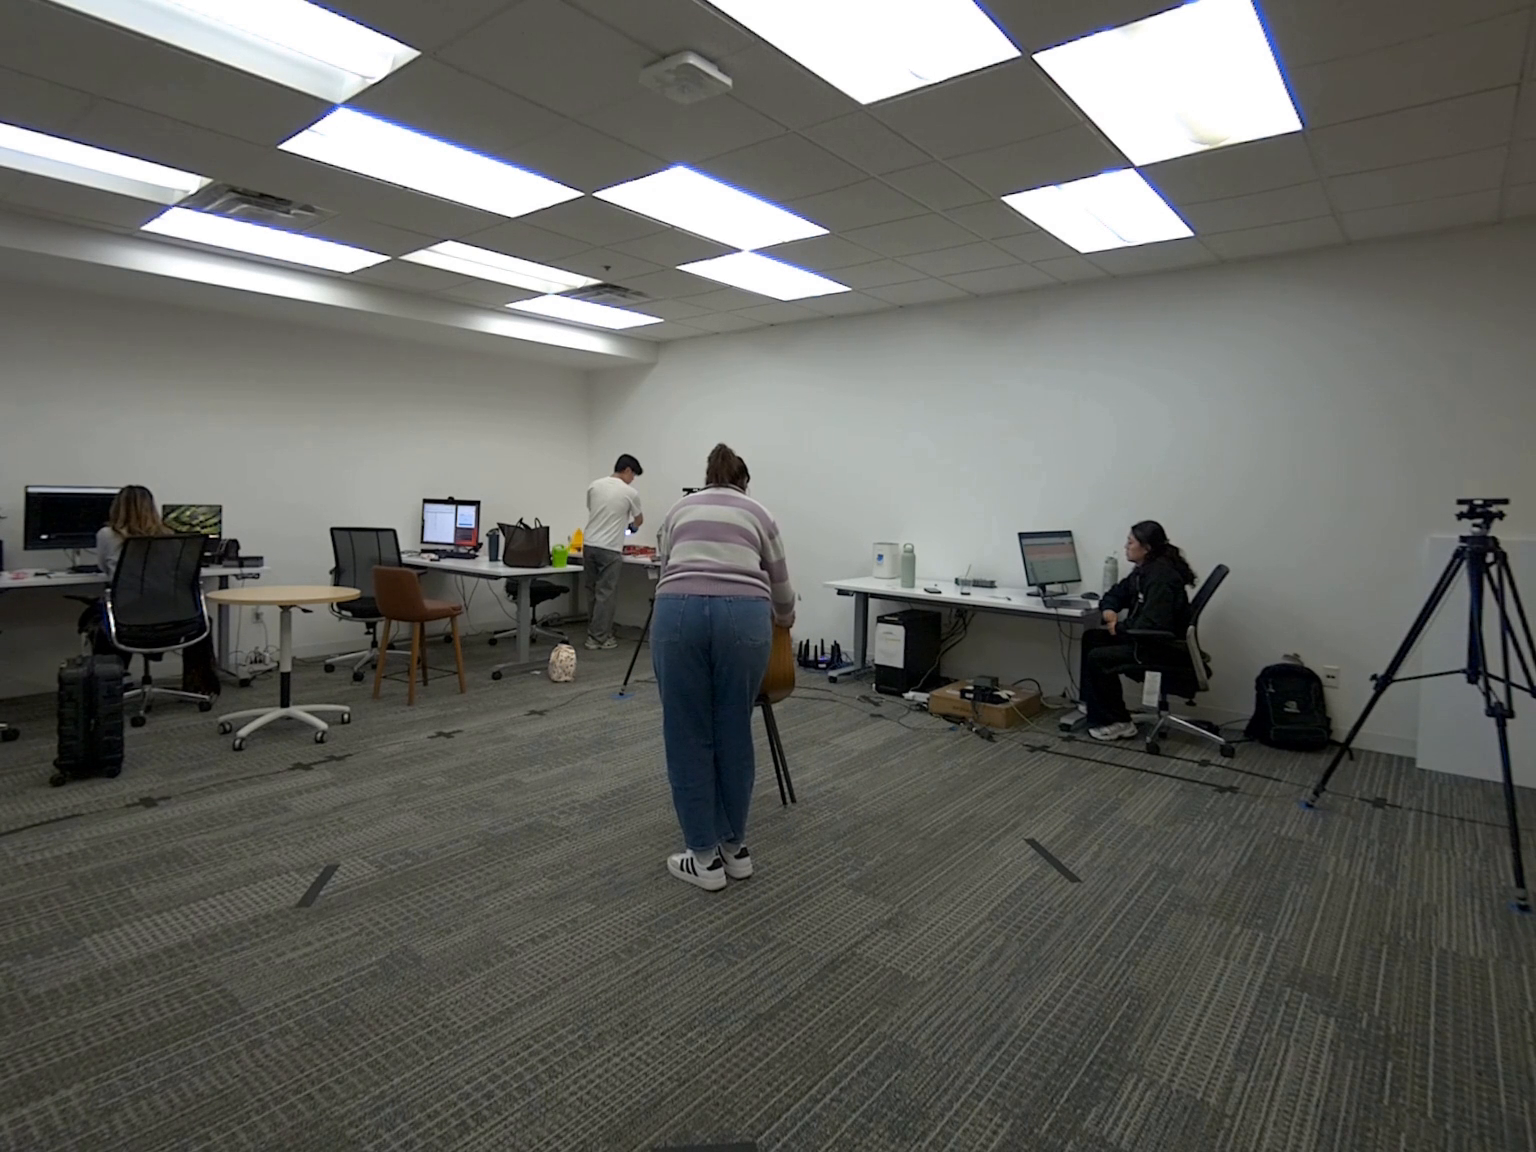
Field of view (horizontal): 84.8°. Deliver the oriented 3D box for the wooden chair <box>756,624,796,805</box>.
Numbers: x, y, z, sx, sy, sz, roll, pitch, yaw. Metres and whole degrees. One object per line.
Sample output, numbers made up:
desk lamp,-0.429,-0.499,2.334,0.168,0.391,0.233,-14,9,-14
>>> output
wooden chair,-0.137,0.537,3.681,0.478,0.889,0.517,0,-13,-2
